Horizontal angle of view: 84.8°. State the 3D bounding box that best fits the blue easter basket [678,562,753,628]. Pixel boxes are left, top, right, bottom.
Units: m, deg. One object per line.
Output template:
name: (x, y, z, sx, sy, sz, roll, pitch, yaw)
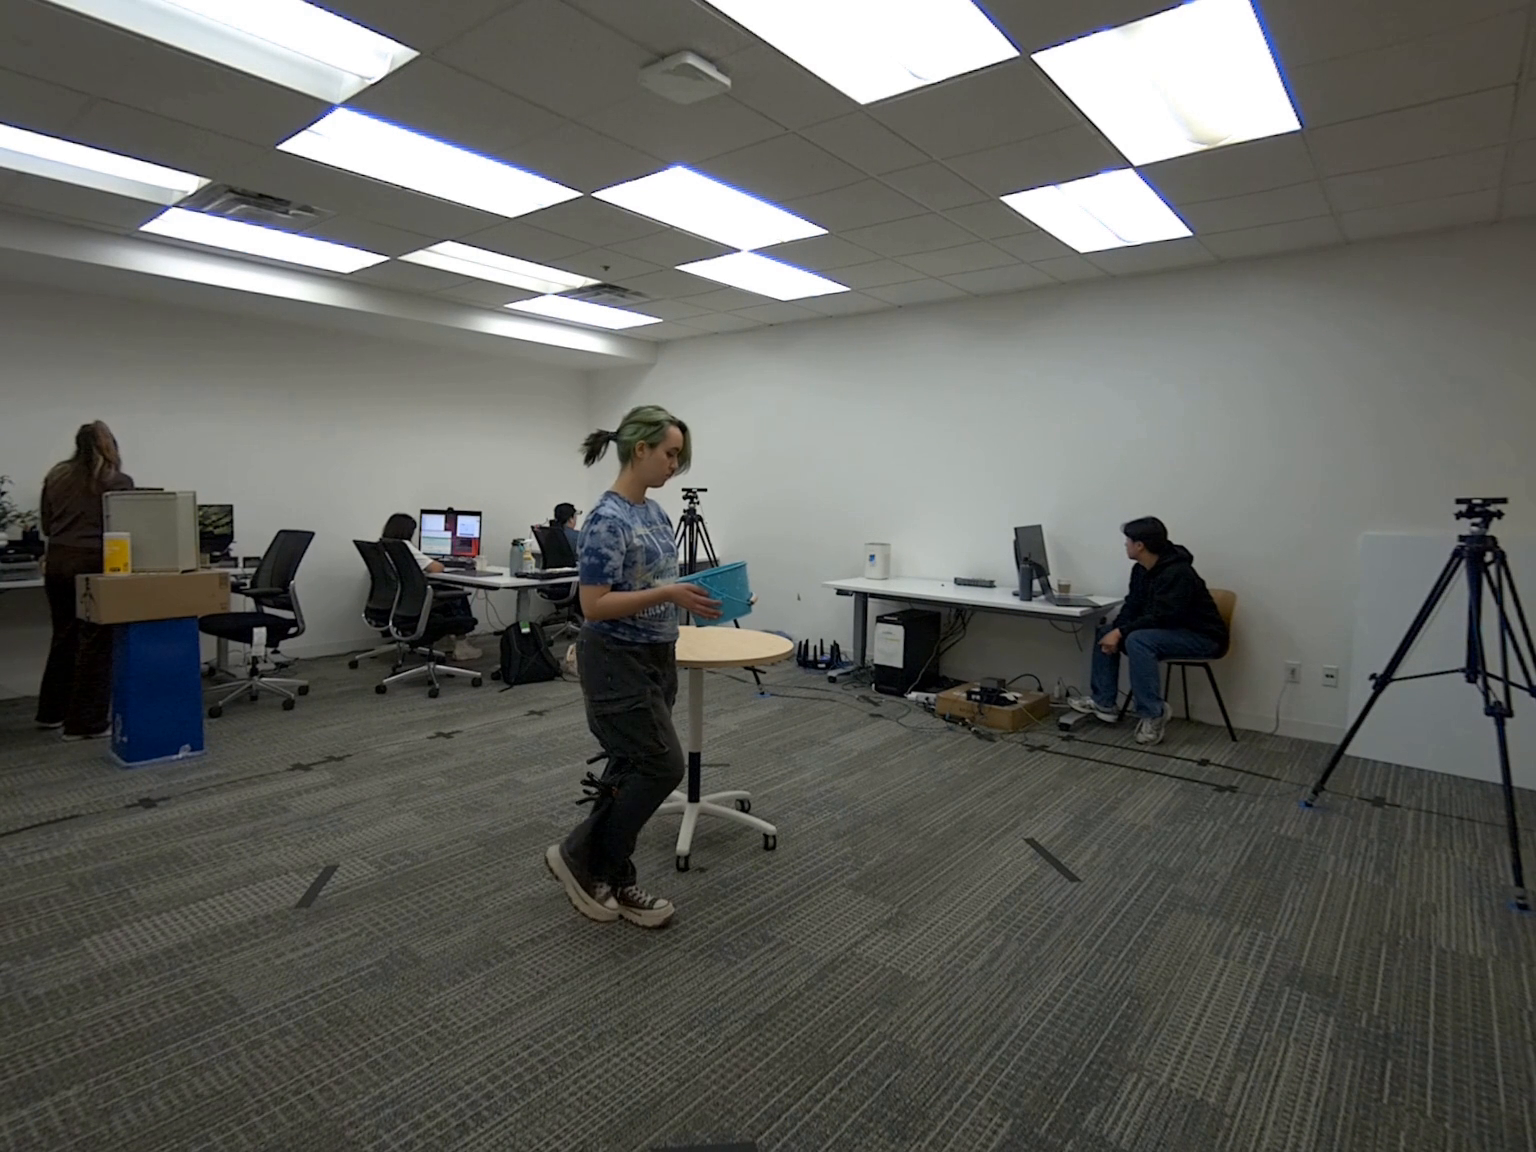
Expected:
blue easter basket: (-0.163, 0.060, 2.606, 0.243, 0.156, 0.244, -15, 3, -1)
